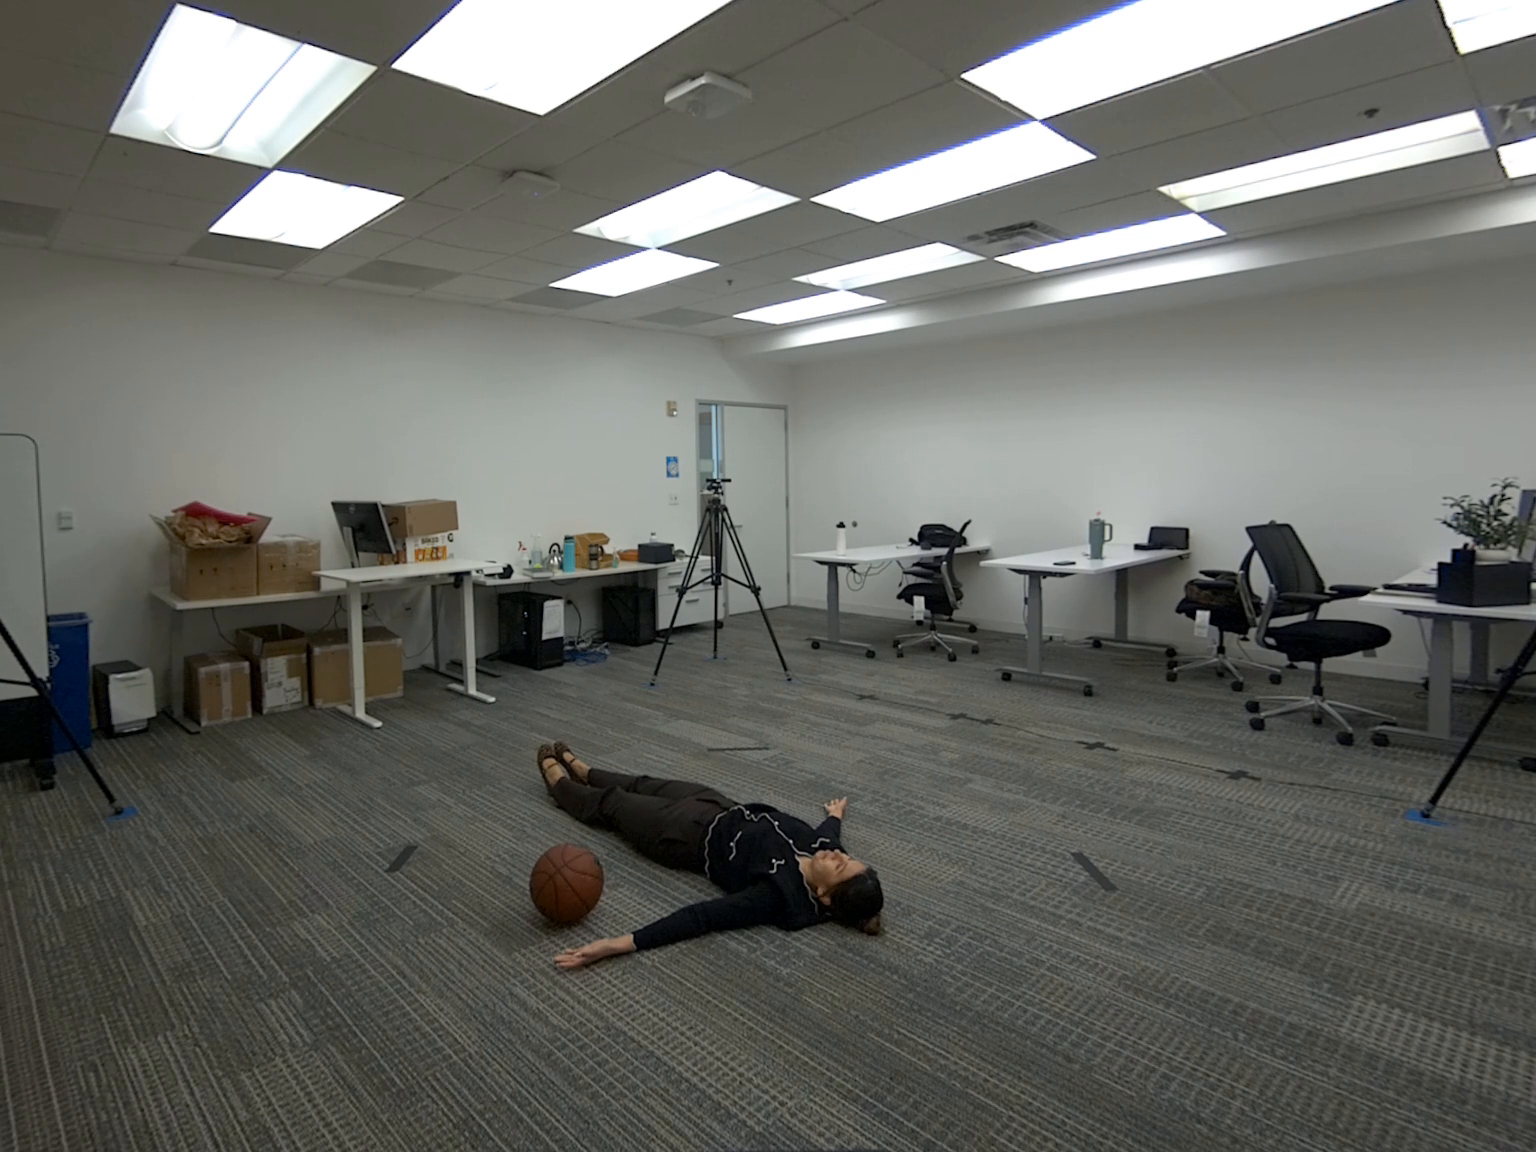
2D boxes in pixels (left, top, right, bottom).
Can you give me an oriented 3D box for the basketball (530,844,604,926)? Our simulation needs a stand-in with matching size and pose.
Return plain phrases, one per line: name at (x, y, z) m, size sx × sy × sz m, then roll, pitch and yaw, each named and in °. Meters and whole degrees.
basketball at (-0.640, 0.980, 2.736) m, size 0.236 × 0.235 × 0.237 m, roll -1°, pitch 5°, yaw -2°
